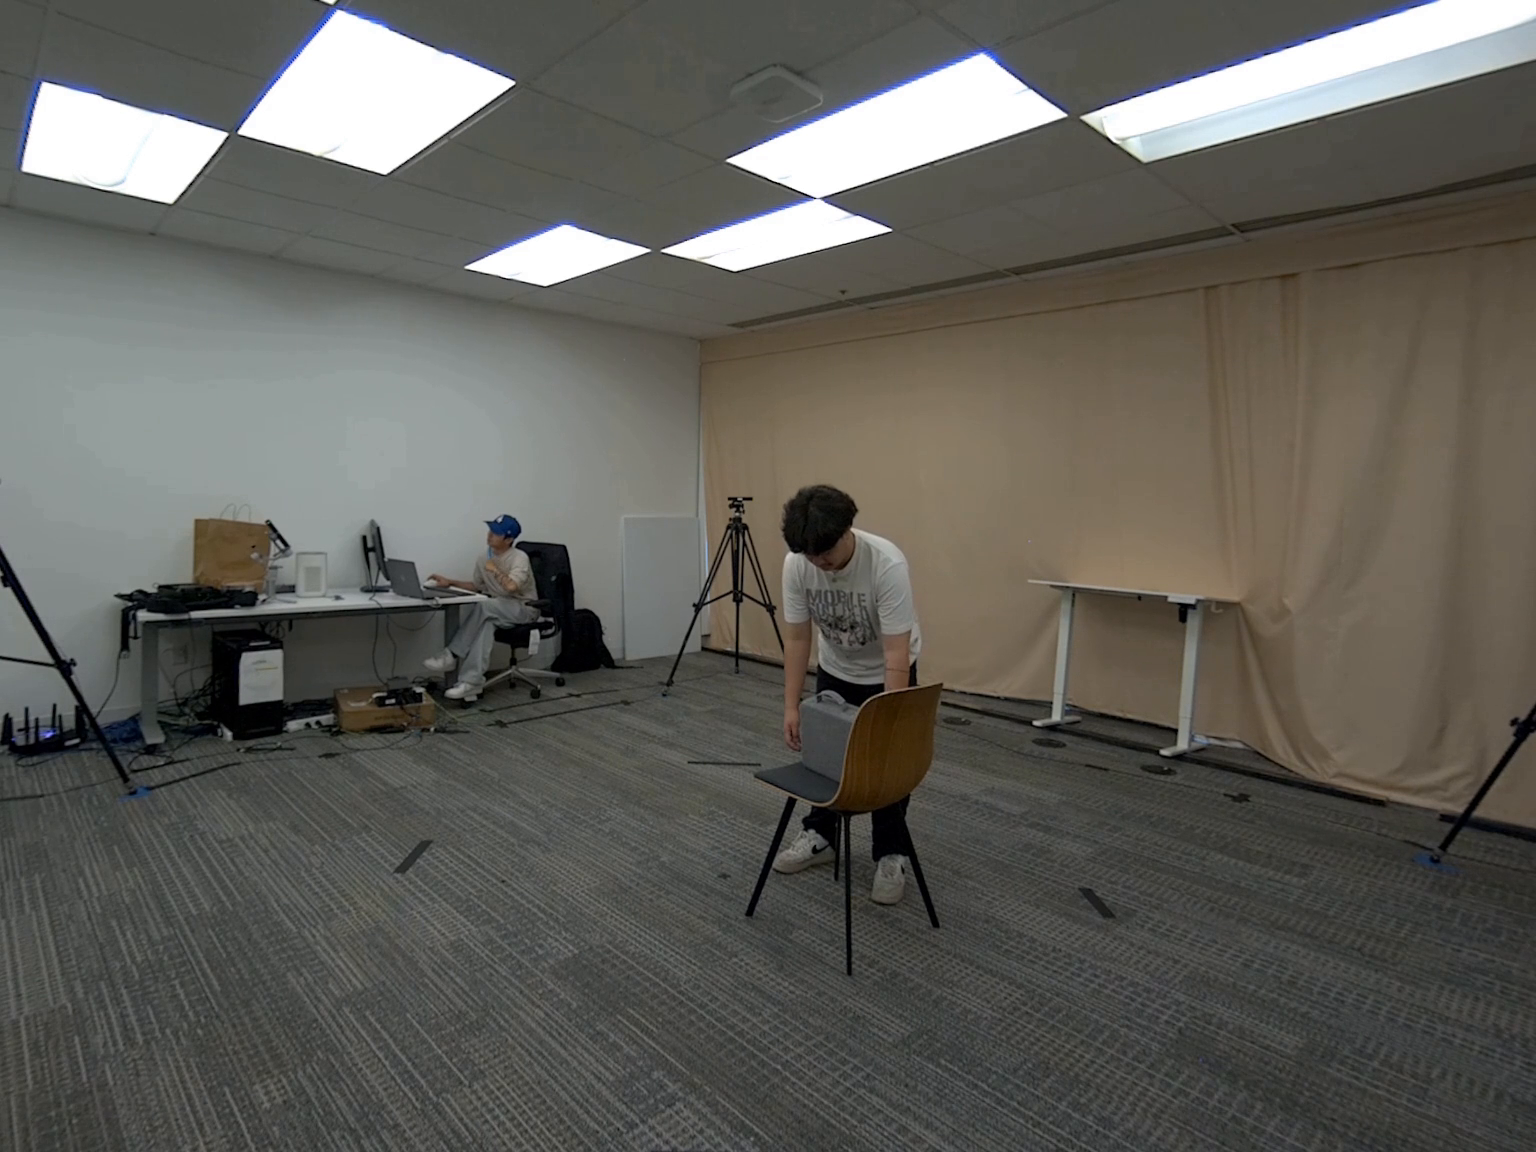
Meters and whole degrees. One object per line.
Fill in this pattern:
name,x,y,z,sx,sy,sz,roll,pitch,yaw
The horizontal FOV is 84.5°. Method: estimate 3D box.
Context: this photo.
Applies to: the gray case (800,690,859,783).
gray case,0.221,0.538,2.794,0.102,0.258,0.264,-15,18,-38
